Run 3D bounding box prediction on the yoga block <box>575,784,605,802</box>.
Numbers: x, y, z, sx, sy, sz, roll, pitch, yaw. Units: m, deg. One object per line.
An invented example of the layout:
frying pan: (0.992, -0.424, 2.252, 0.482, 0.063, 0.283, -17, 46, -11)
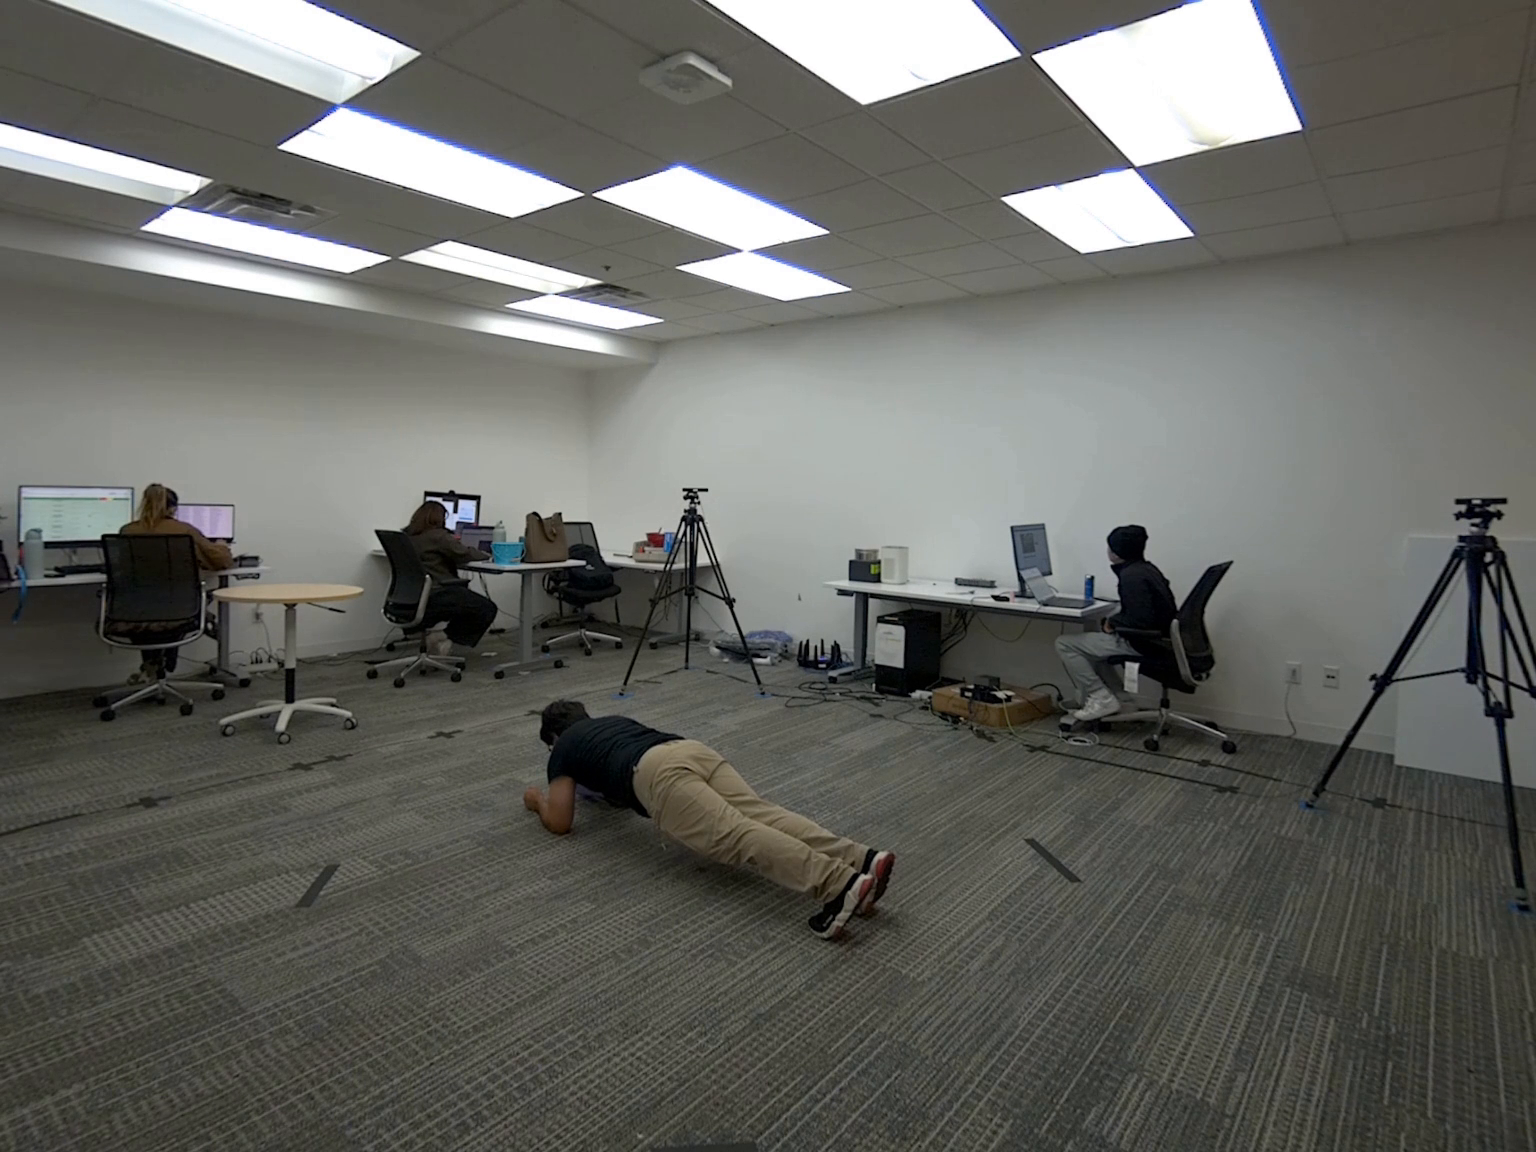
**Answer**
yoga block: (-0.766, 0.886, 3.759, 0.074, 0.149, 0.236, -7, 0, -44)
